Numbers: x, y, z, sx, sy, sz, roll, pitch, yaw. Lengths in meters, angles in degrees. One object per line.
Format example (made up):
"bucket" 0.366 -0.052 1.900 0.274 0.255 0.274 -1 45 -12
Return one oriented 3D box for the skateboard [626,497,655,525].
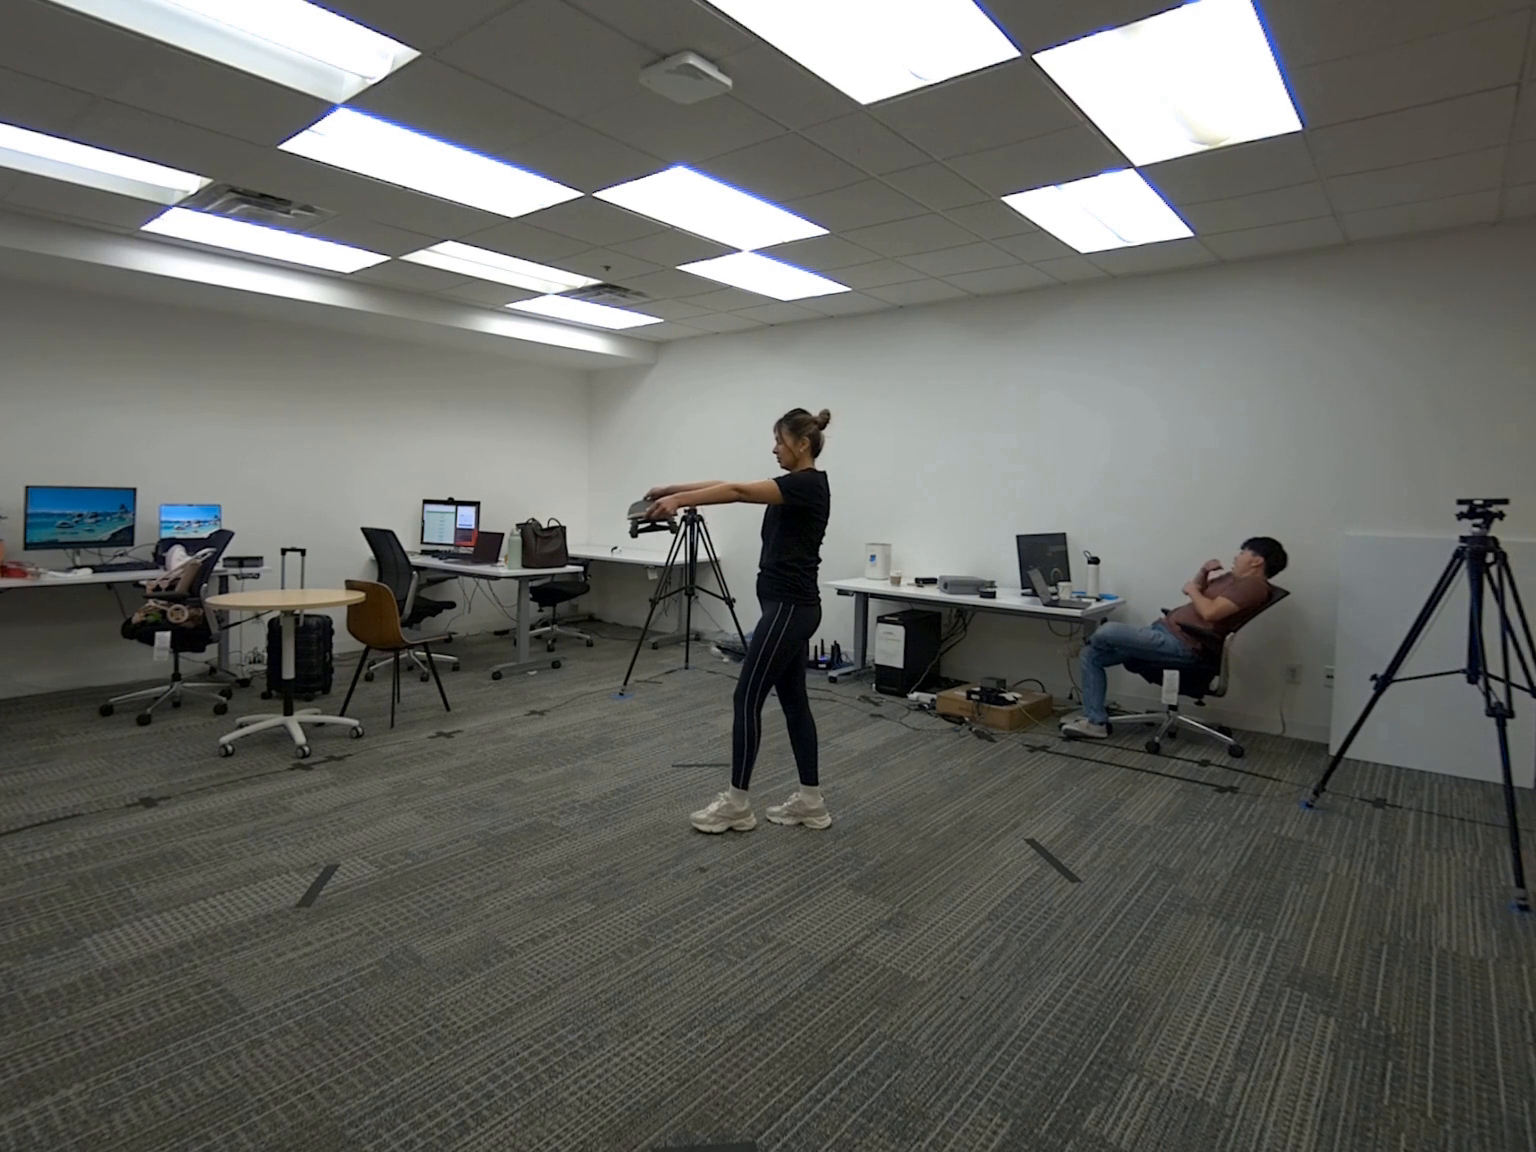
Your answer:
"skateboard" -0.483 -0.239 3.482 0.192 0.109 0.798 -8 10 -8
